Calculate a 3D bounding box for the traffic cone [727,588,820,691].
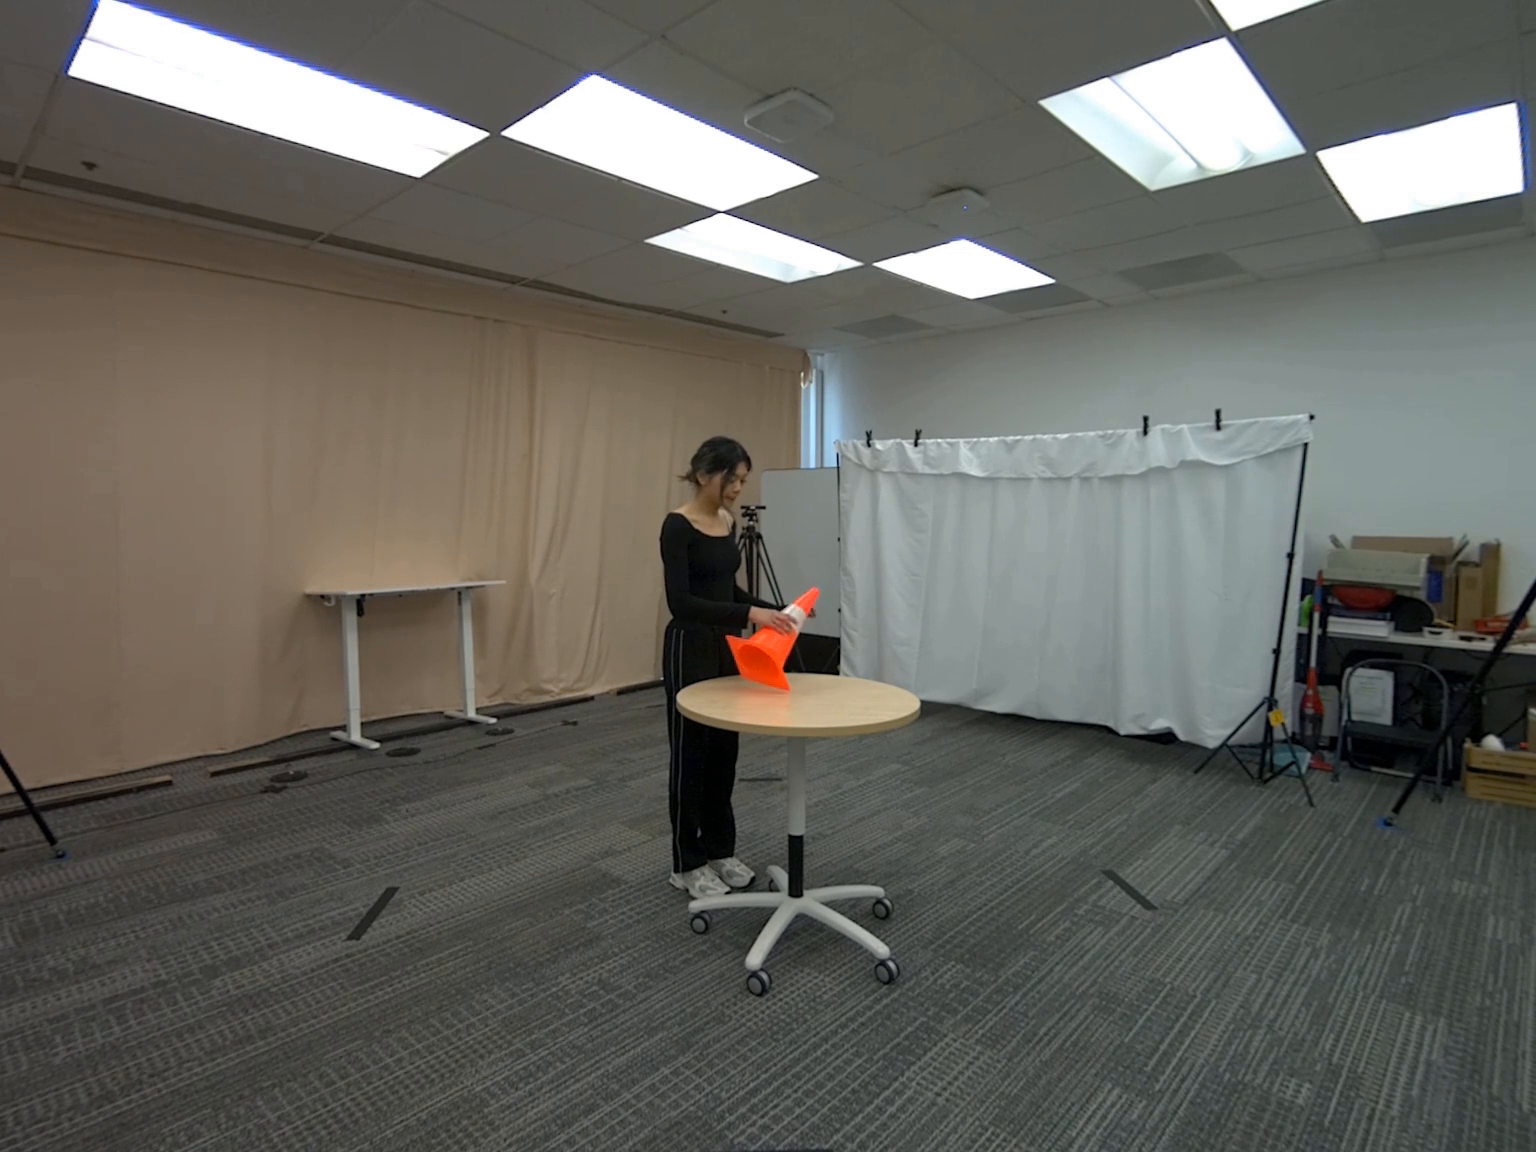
[{"bbox_3d":[0.073,0.176,2.833,0.210,0.200,0.381,10,44,37],"label":"traffic cone"}]
